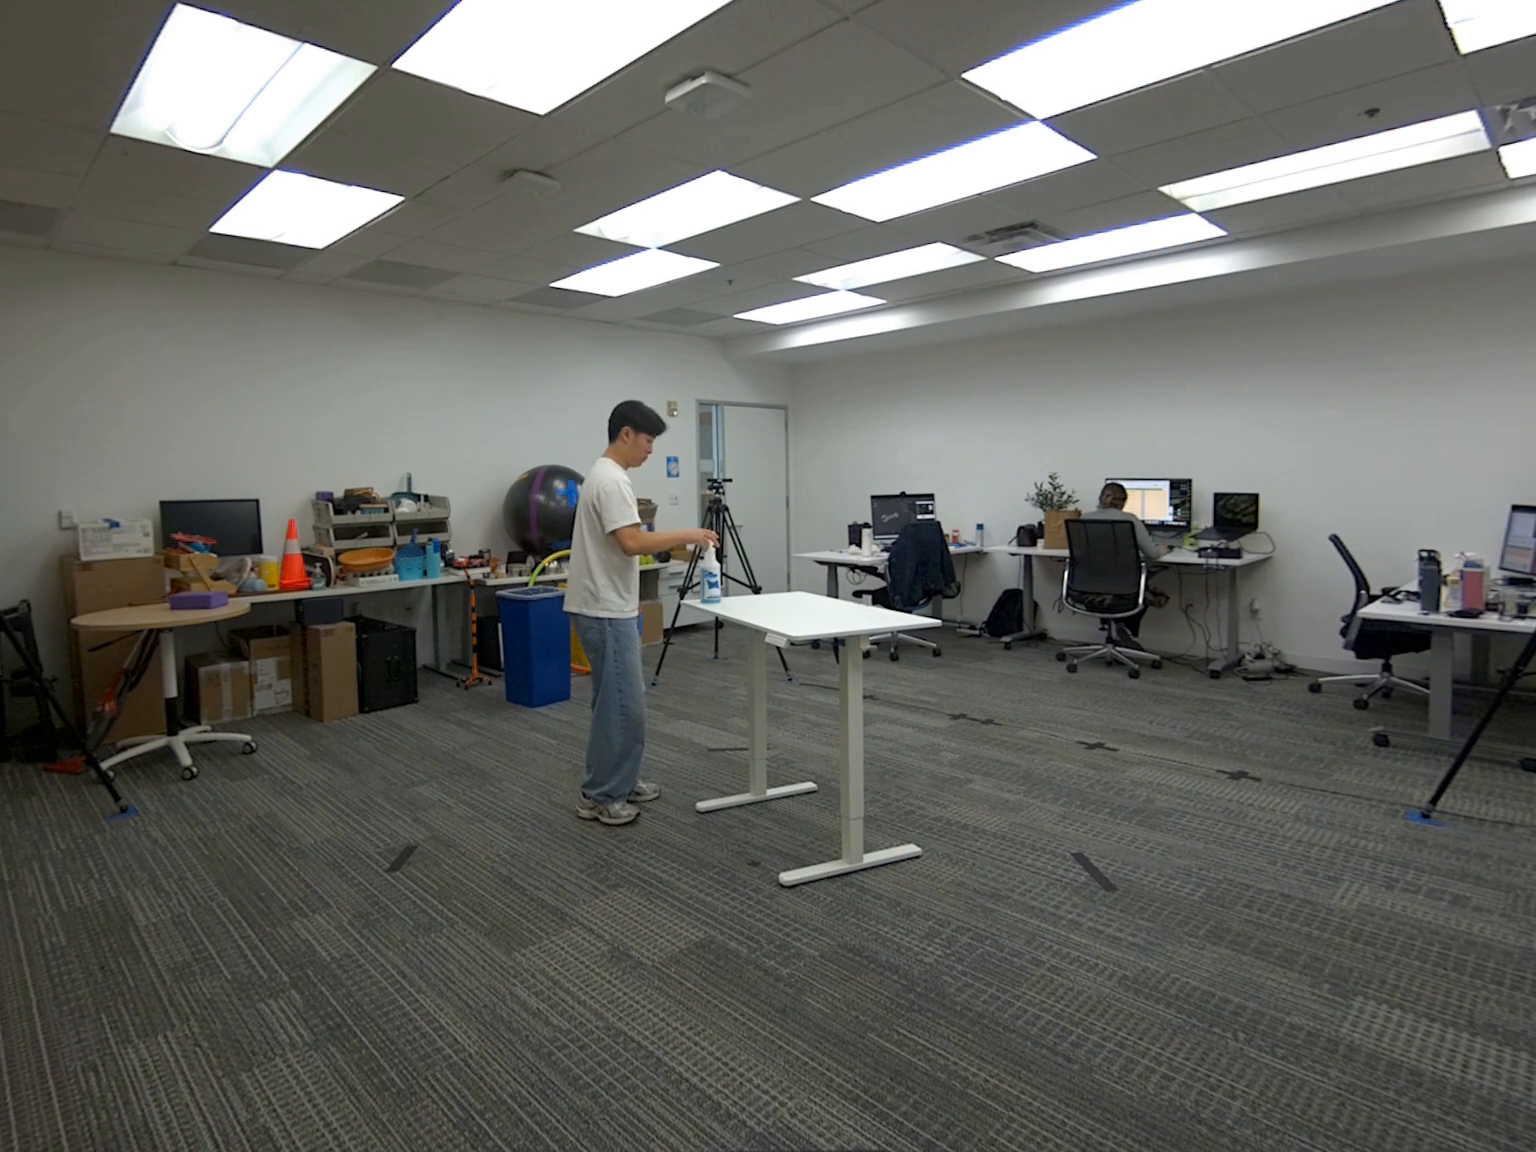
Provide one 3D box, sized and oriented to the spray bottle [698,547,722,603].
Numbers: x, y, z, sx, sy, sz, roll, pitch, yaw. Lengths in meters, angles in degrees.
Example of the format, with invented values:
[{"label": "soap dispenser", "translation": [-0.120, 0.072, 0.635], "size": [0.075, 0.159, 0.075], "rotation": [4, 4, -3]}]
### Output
[{"label": "spray bottle", "translation": [-0.247, -0.034, 3.605], "size": [0.089, 0.297, 0.087], "rotation": [1, 0, 41]}]
